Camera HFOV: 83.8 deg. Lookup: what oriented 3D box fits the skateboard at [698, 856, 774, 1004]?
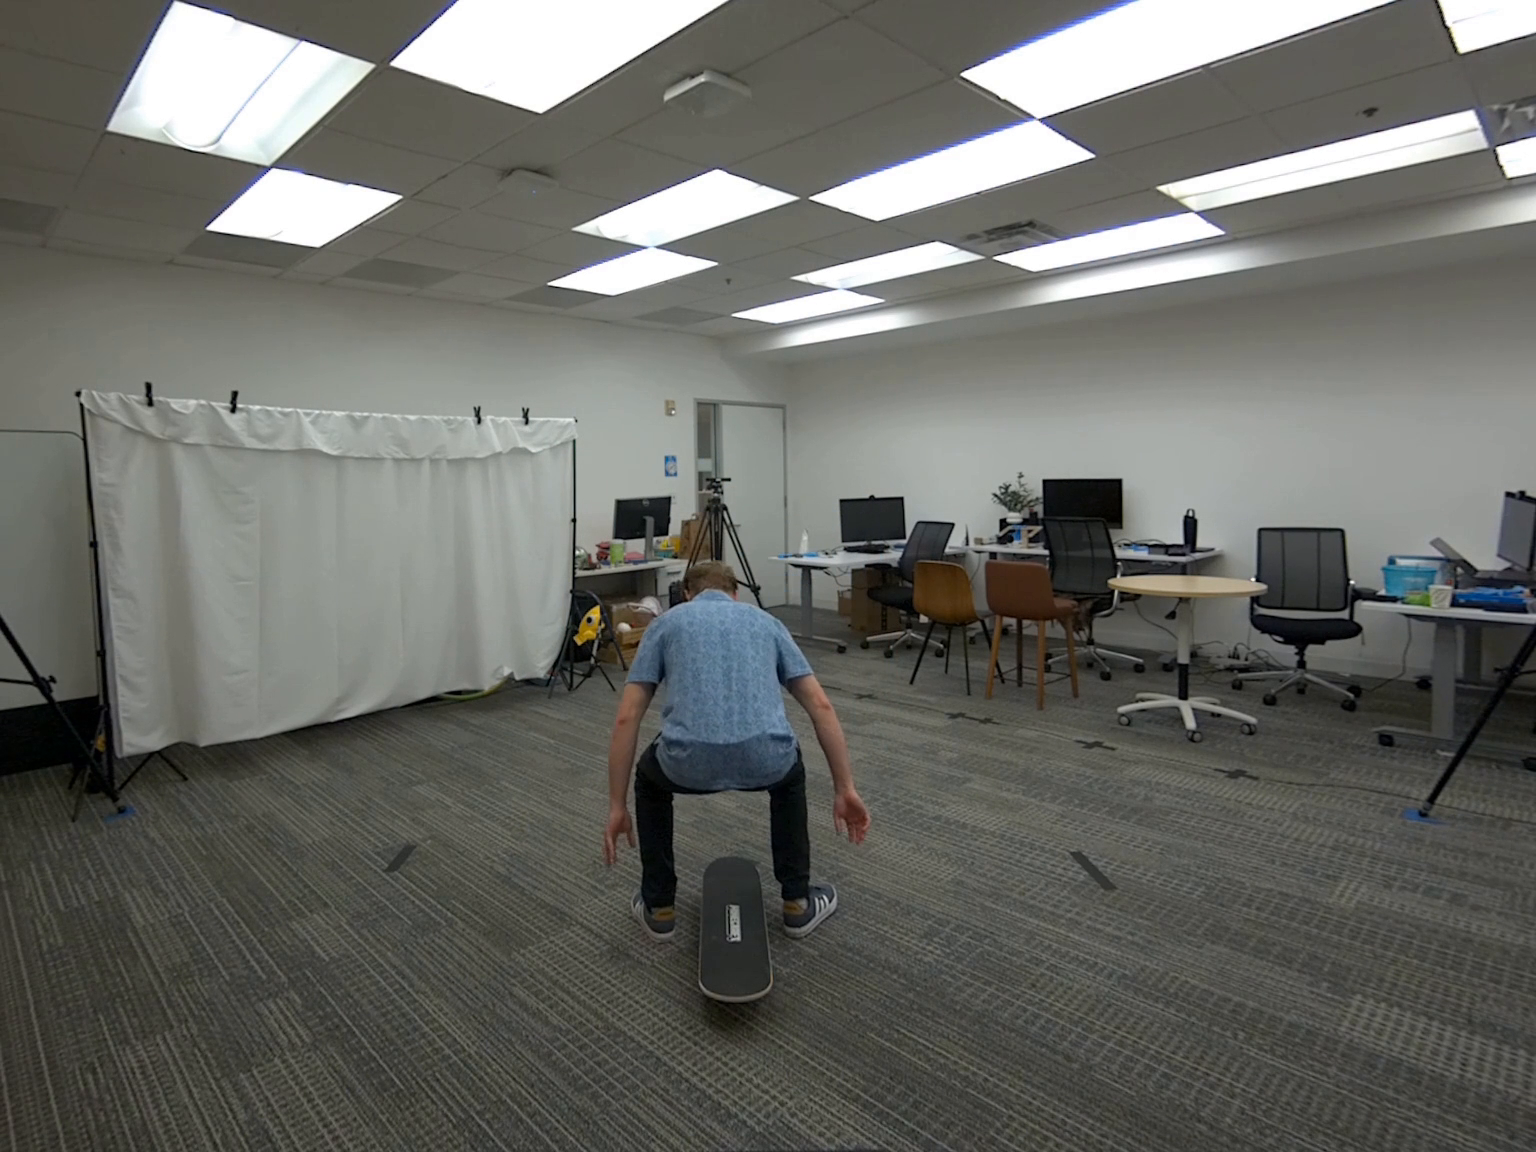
[{"bbox_3d":[-0.101,1.055,2.522,0.193,0.110,0.791,-2,7,-4],"label":"skateboard"}]
